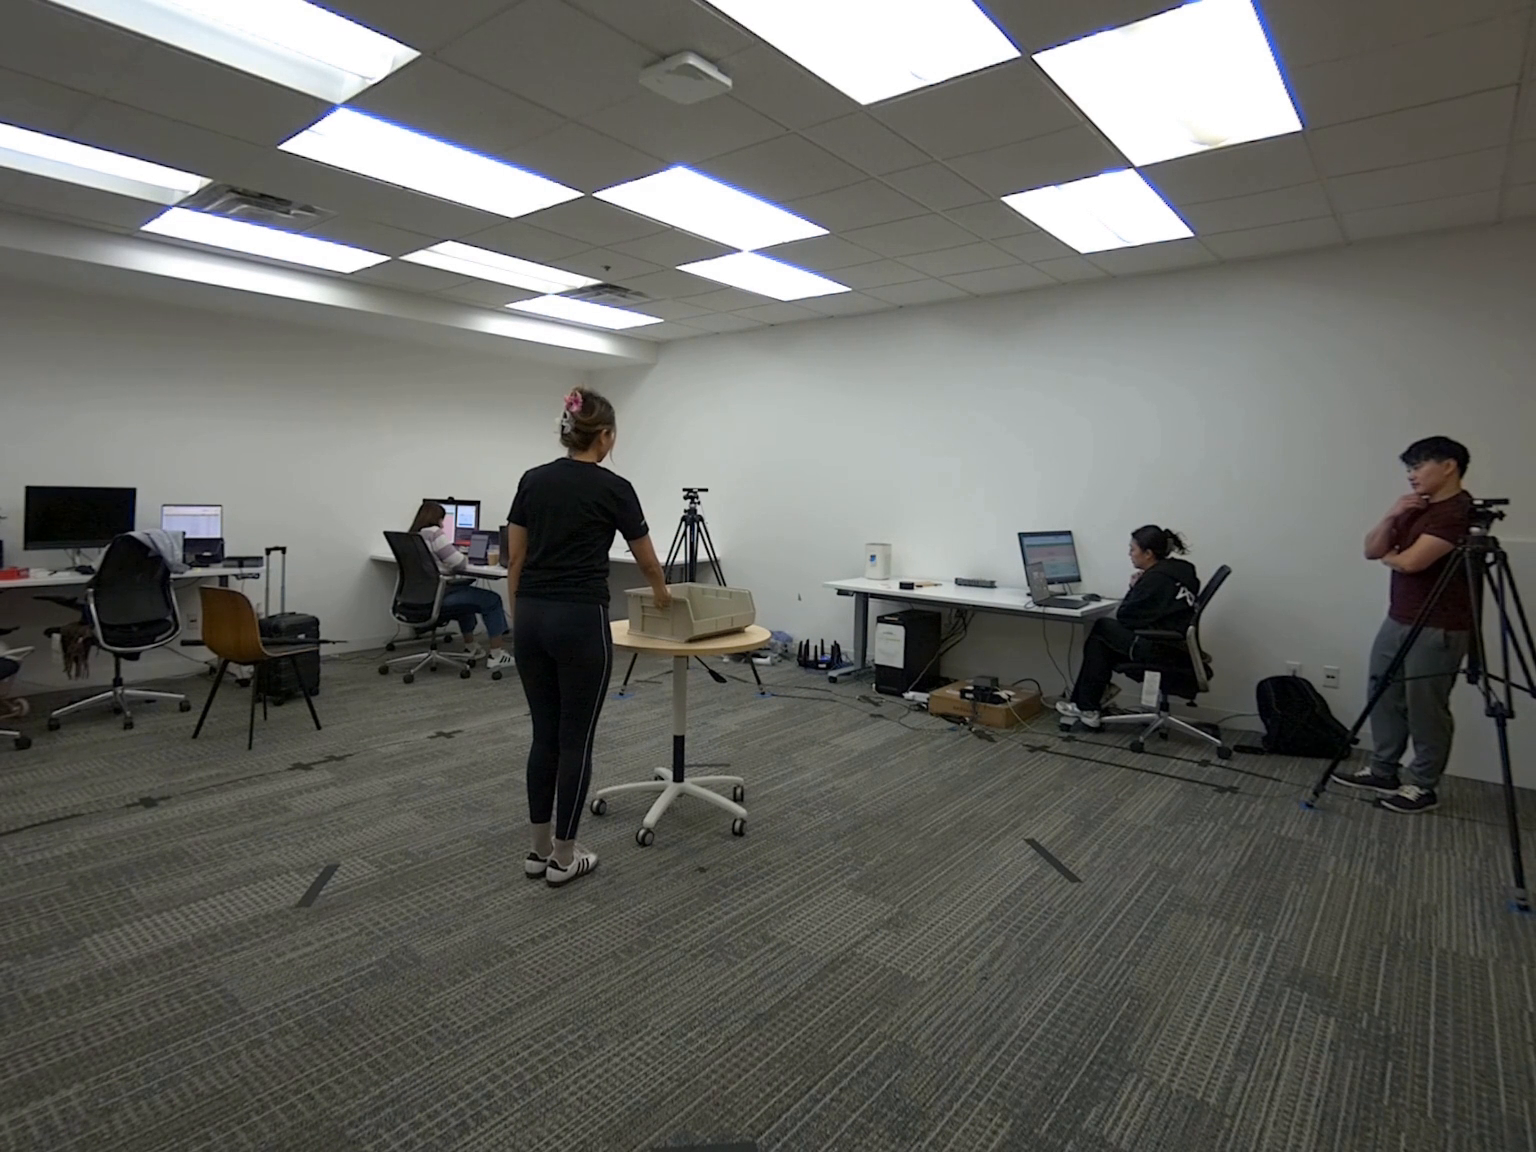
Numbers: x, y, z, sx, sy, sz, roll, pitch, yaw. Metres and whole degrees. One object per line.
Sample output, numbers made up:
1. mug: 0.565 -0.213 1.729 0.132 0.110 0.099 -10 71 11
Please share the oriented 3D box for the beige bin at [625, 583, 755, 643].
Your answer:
1. beige bin: -0.336 0.146 3.580 0.390 0.188 0.410 4 6 37
